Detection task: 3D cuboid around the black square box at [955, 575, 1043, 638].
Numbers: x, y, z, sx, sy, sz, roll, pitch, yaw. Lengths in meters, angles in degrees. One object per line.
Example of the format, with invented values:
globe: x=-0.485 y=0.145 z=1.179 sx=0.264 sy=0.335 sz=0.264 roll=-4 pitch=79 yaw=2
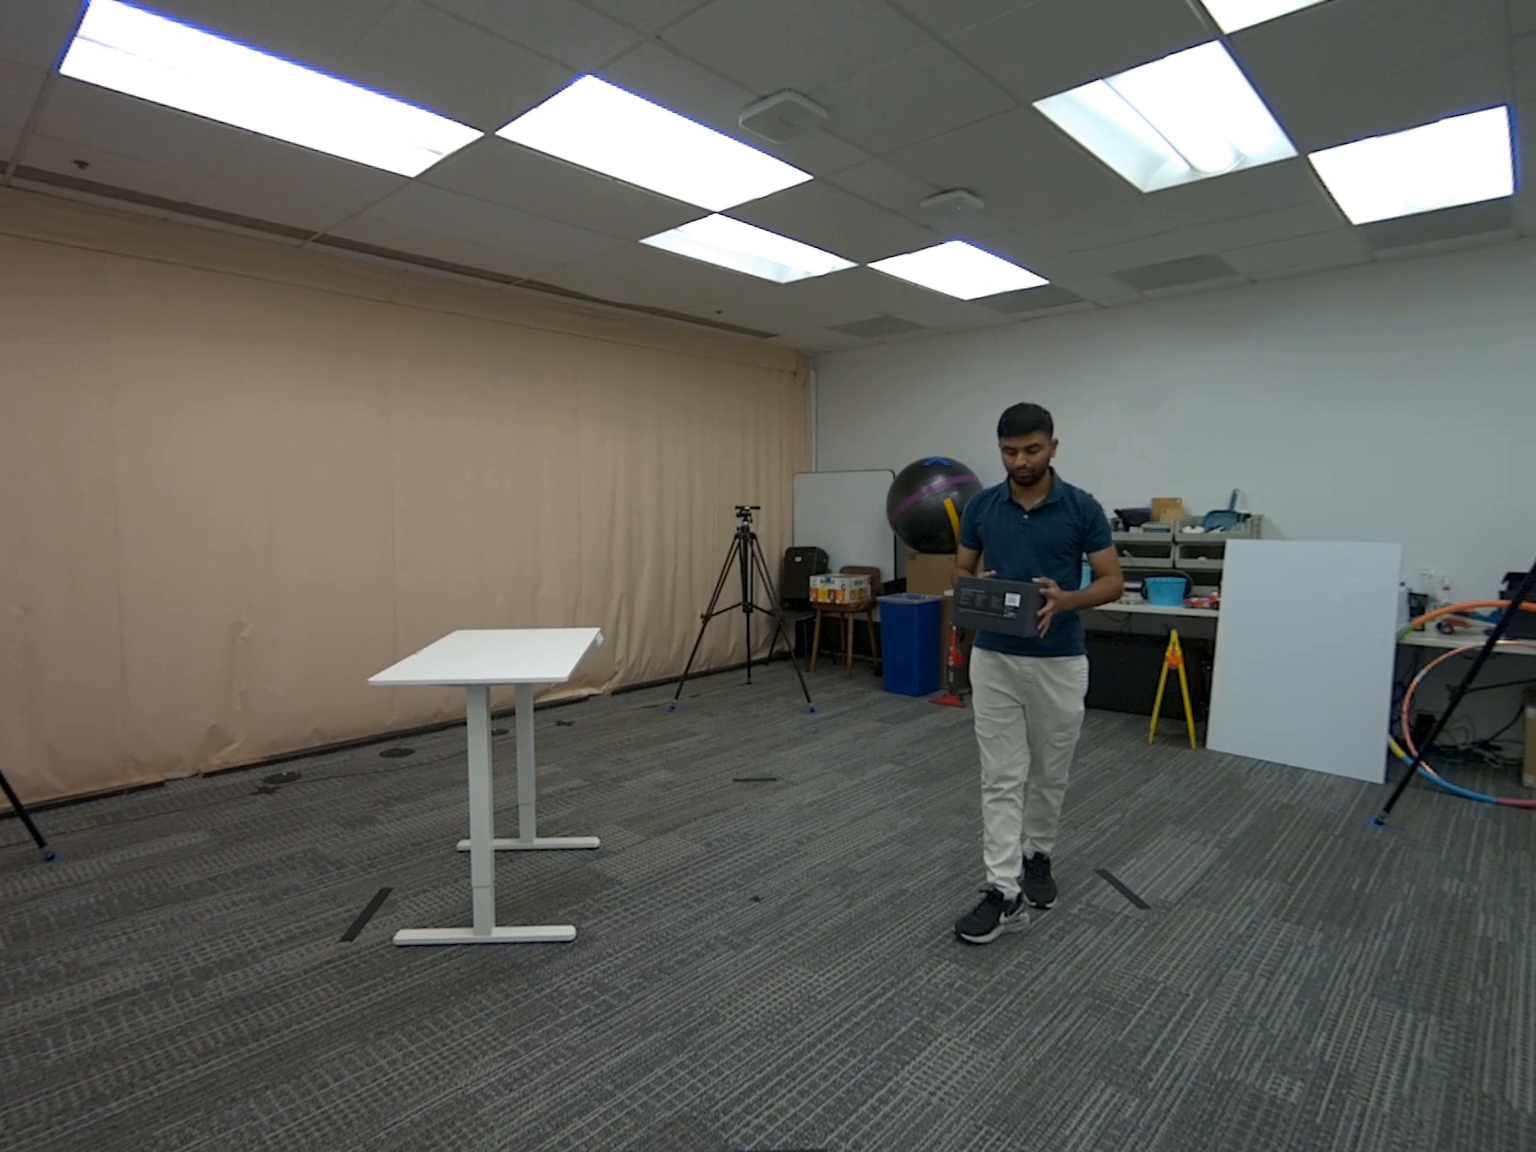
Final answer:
black square box: x=0.720 y=0.089 z=2.584 sx=0.224 sy=0.156 sz=0.221 roll=6 pitch=1 yaw=32
